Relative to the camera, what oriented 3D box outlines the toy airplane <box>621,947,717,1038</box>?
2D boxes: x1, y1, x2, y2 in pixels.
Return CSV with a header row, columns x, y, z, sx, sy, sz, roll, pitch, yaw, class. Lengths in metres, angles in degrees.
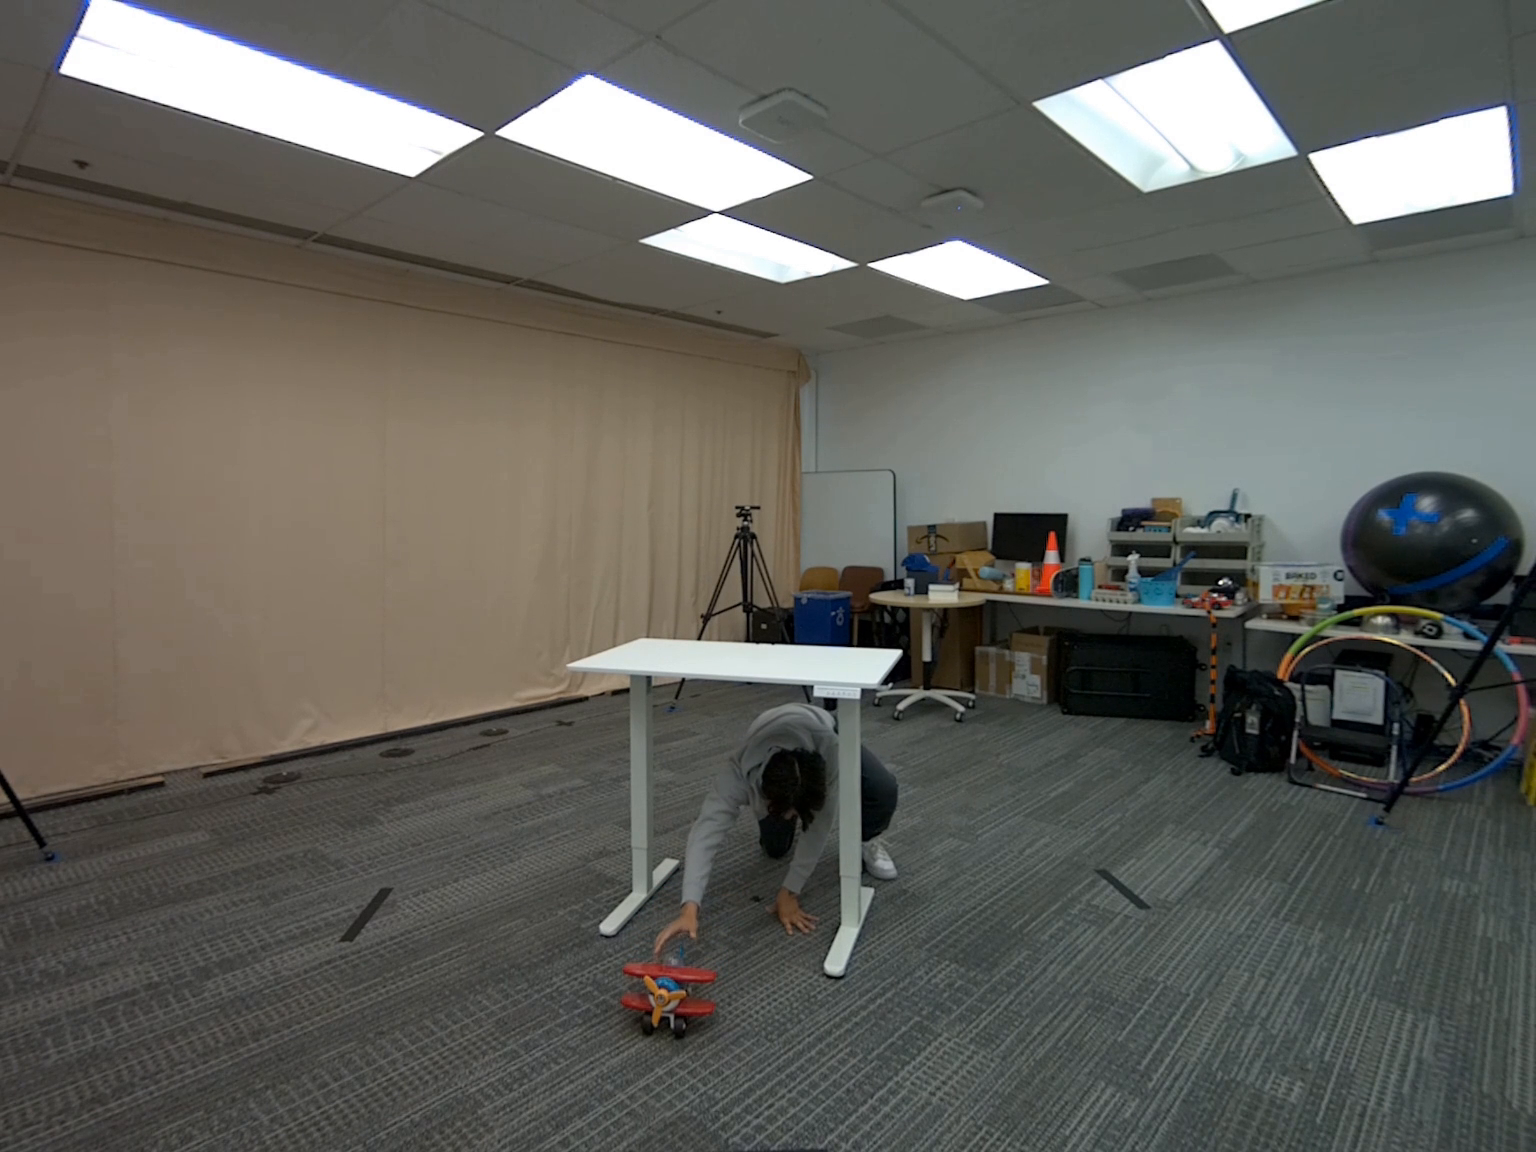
x,y,z,sx,sy,sz,roll,pitch,yaw,class
-0.281,1.132,2.297,0.246,0.156,0.265,-2,5,-20,toy airplane
